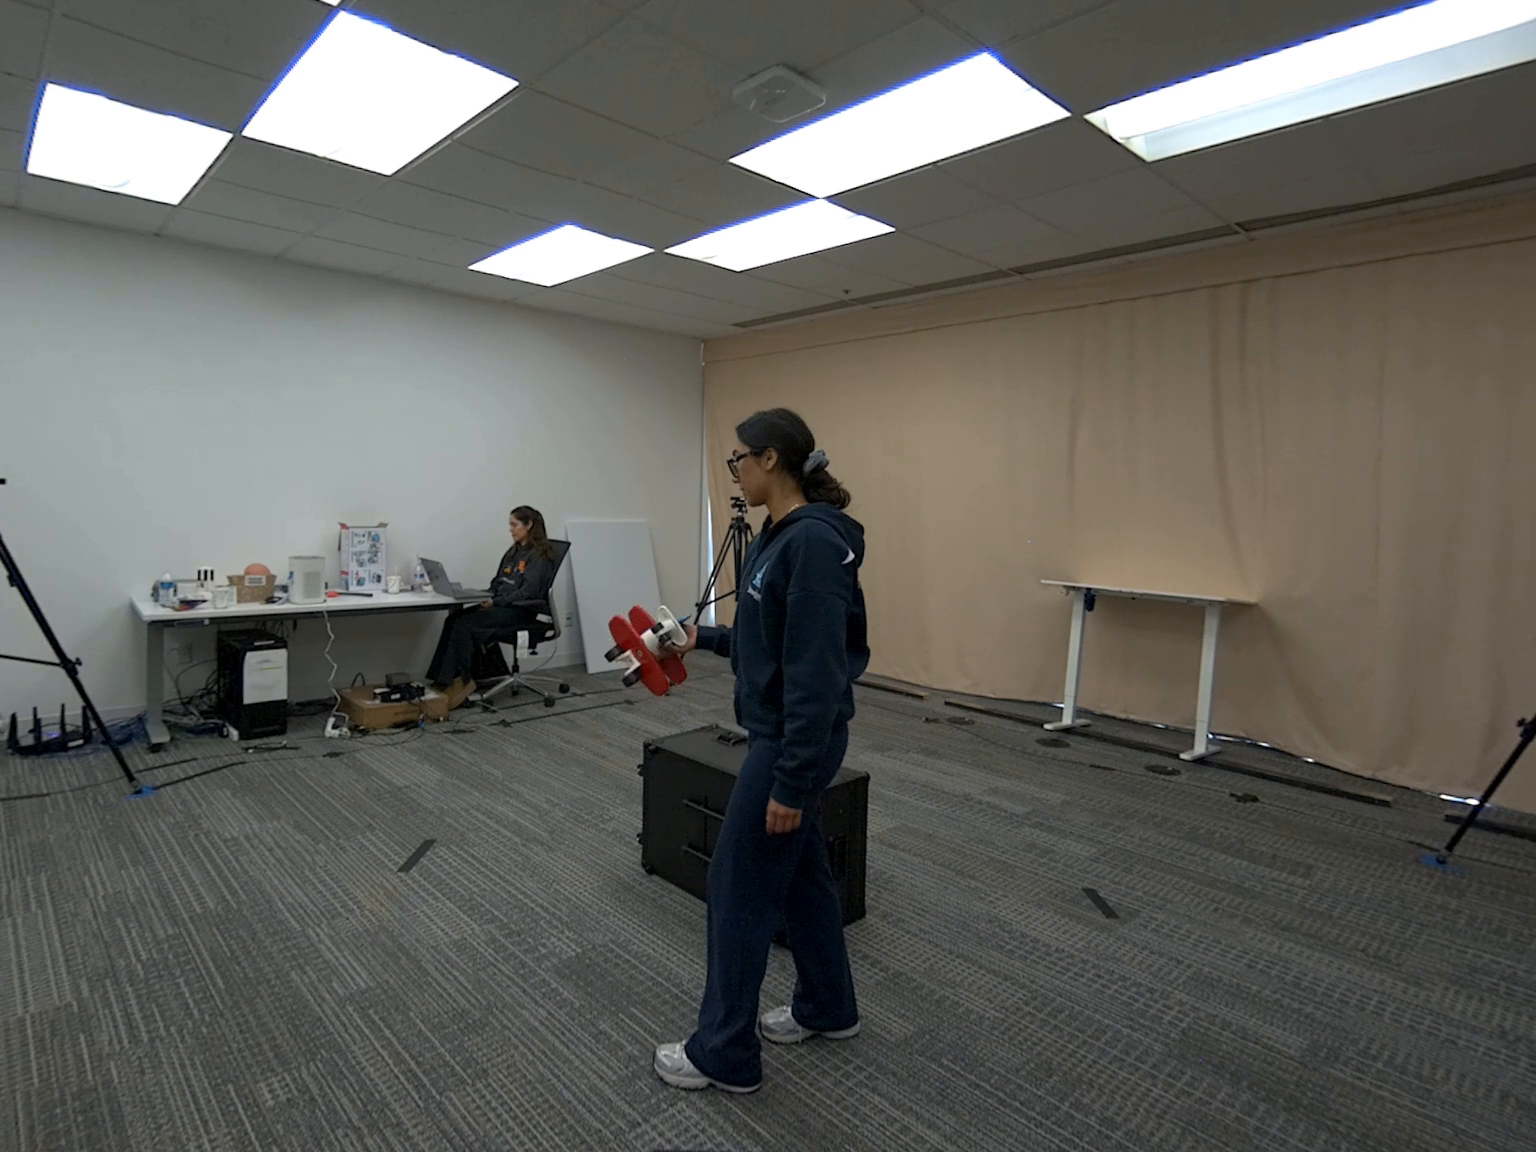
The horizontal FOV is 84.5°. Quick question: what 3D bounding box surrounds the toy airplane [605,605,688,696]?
[{"bbox_3d":[-0.314,0.211,2.321,0.263,0.250,0.154,-9,7,29],"label":"toy airplane"}]
